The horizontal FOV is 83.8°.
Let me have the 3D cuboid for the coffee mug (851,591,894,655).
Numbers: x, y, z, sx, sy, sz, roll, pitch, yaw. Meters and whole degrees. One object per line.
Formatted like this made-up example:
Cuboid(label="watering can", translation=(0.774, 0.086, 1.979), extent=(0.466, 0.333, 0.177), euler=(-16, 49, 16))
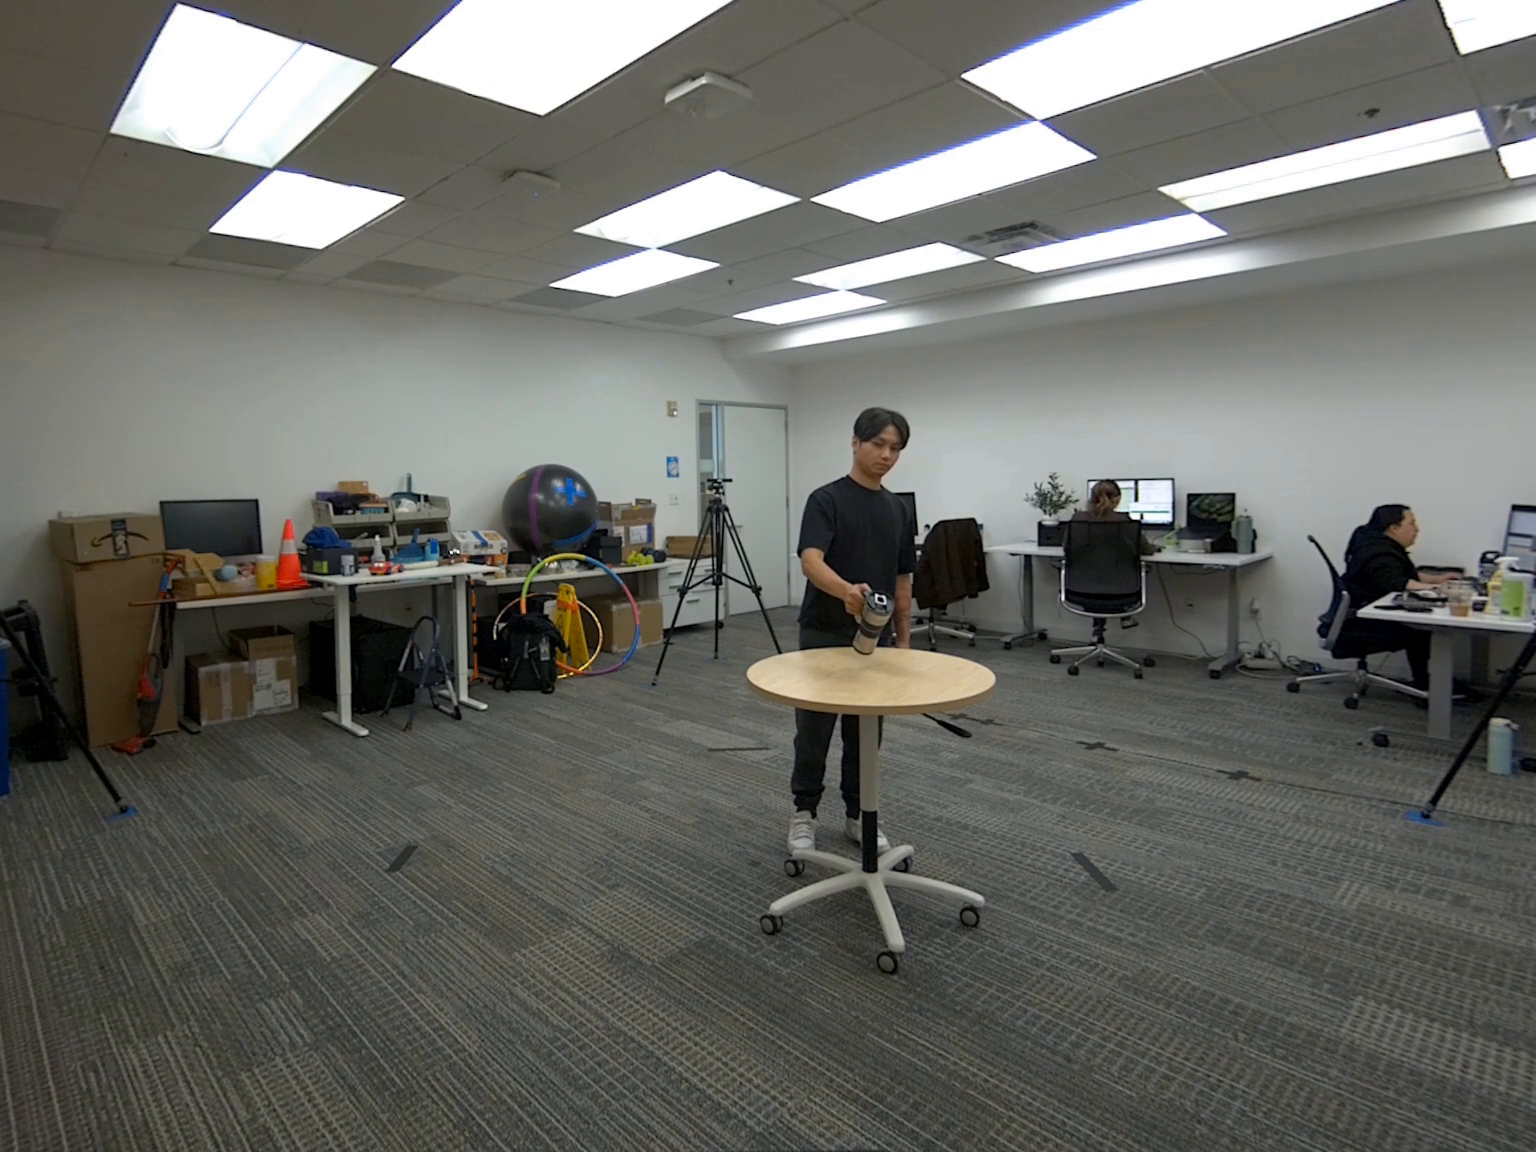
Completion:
Cuboid(label="coffee mug", translation=(0.339, 0.151, 2.692), extent=(0.091, 0.198, 0.121), euler=(27, 40, 27))
